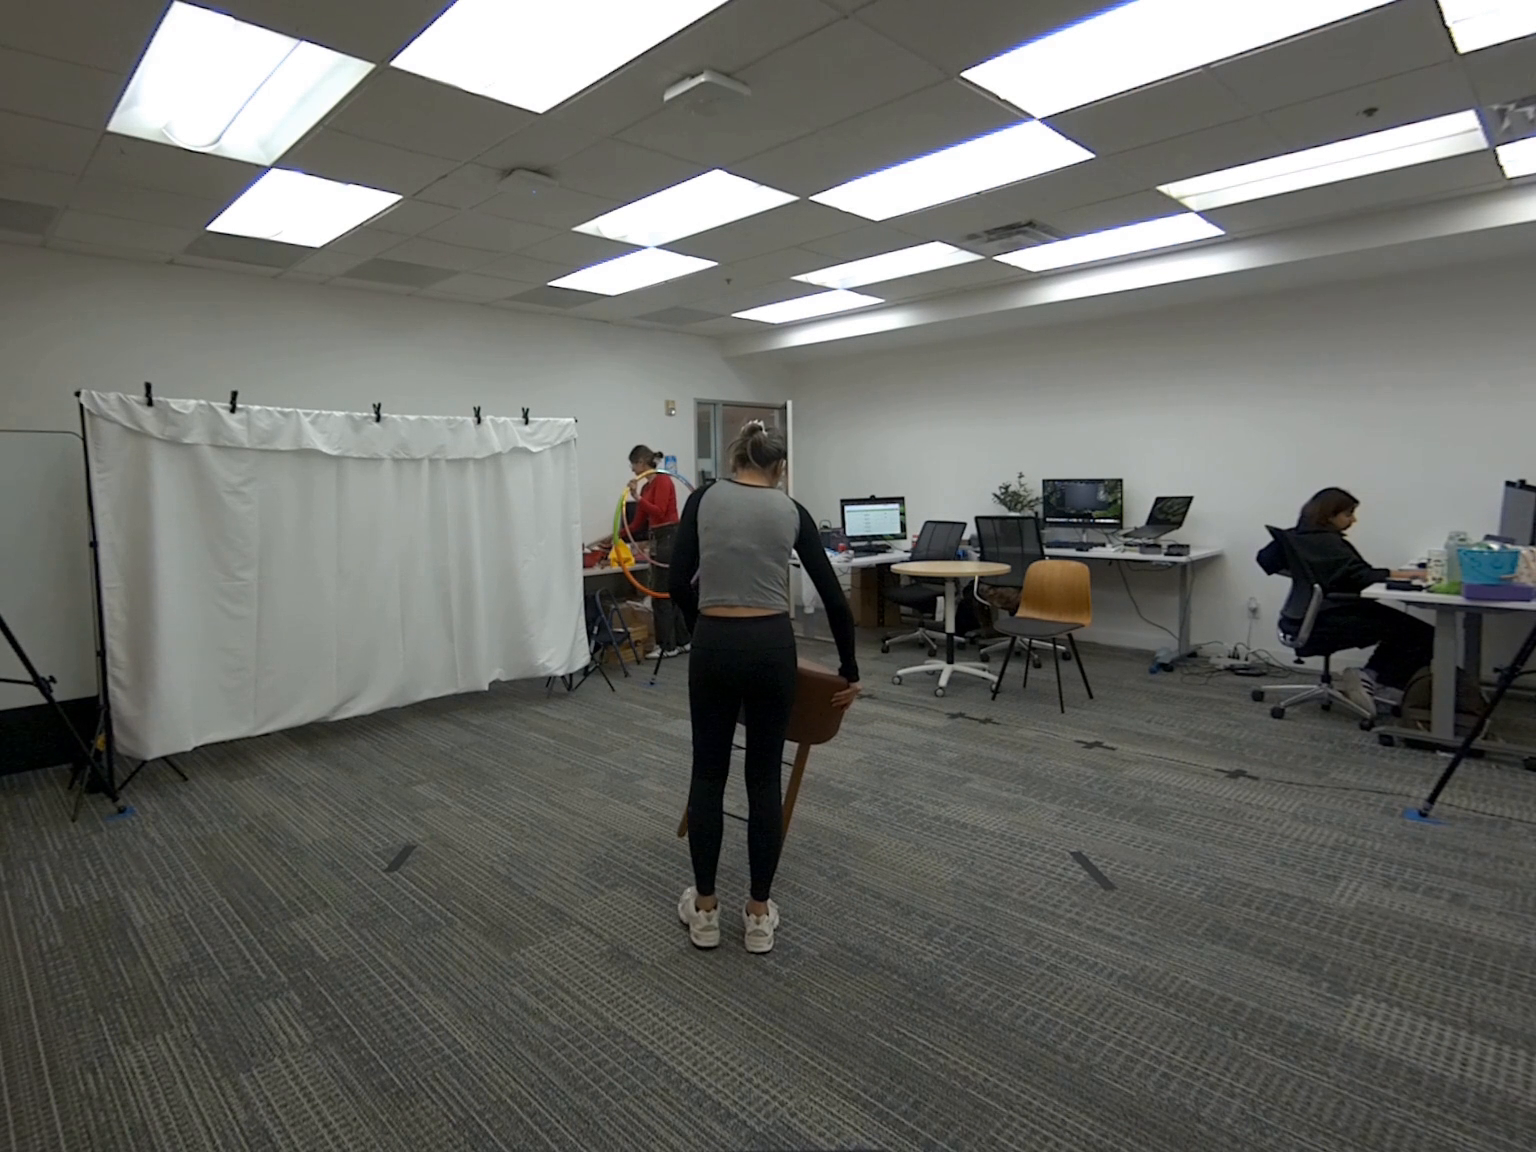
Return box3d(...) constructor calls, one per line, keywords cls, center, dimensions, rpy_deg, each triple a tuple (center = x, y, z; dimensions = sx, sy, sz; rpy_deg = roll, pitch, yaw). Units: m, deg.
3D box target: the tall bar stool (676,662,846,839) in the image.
box3d(cls="tall bar stool", center=(0.004, 0.539, 3.061), dimensions=(0.459, 0.876, 0.472), rpy_deg=(19, 29, 3))
